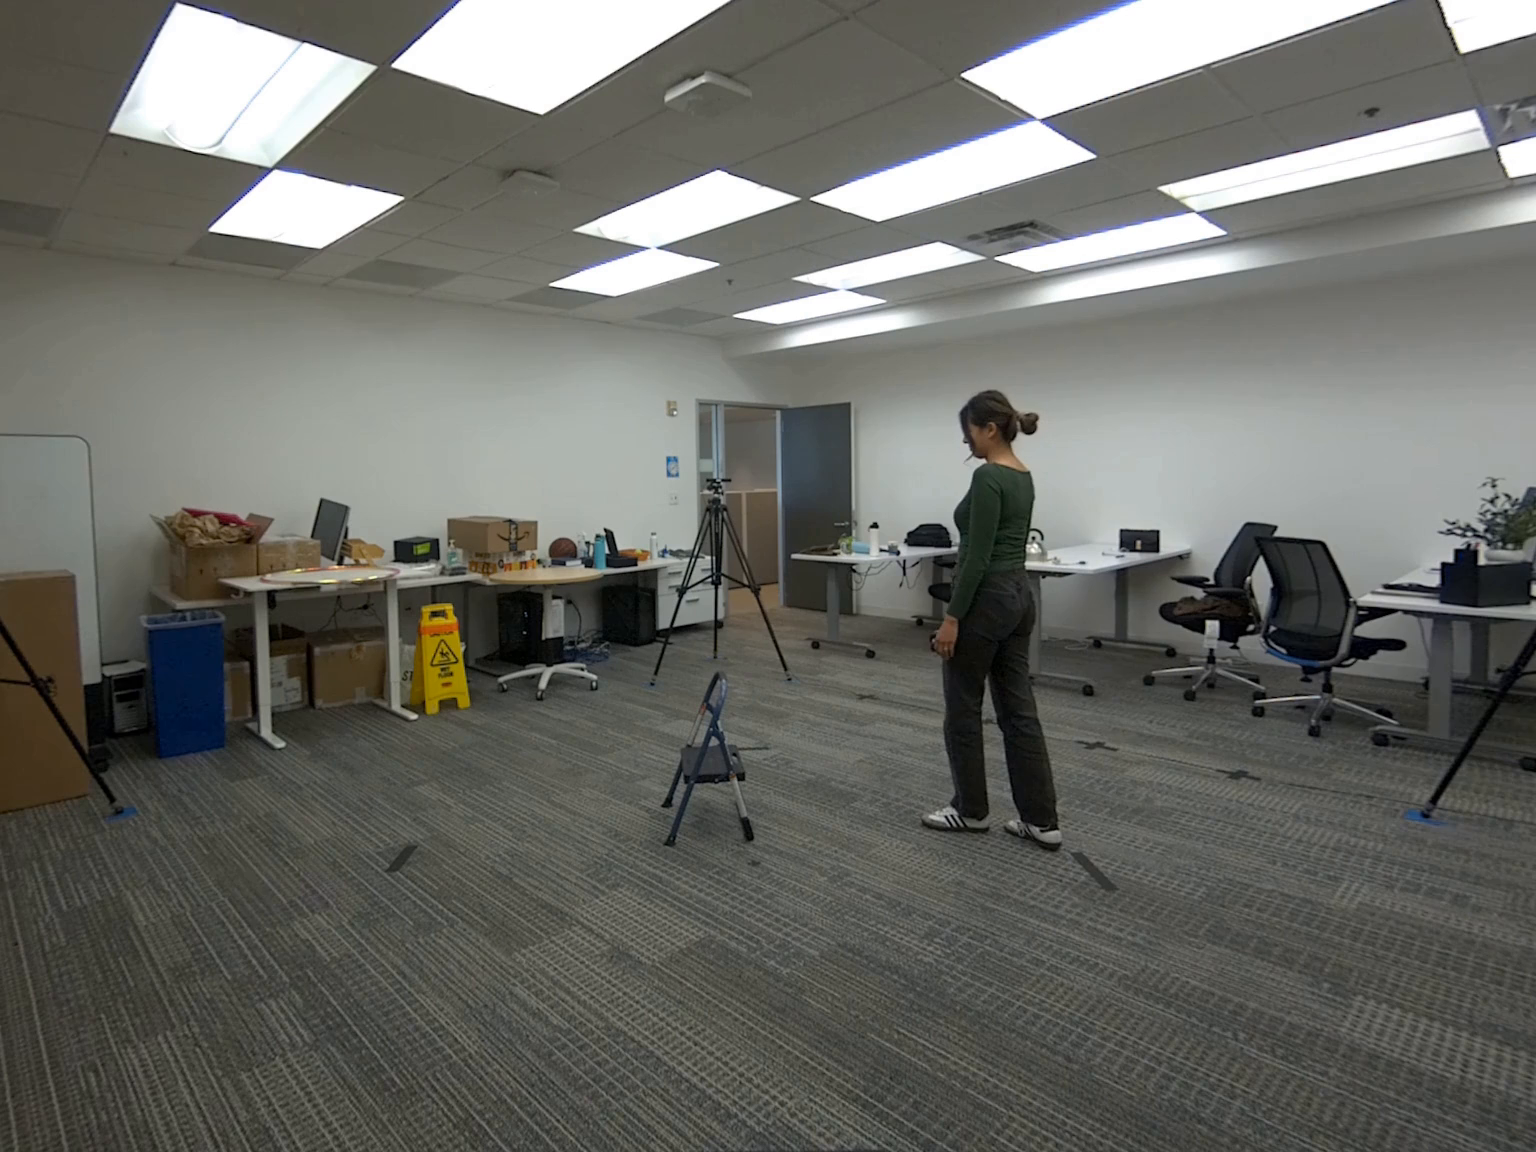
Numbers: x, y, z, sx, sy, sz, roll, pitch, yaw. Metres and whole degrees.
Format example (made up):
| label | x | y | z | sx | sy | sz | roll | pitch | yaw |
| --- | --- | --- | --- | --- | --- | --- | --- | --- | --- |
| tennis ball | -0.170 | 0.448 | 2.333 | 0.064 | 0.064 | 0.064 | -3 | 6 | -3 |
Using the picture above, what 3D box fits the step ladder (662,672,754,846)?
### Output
| label | x | y | z | sx | sy | sz | roll | pitch | yaw |
| --- | --- | --- | --- | --- | --- | --- | --- | --- | --- |
| step ladder | -0.252 | 0.709 | 3.465 | 0.347 | 0.604 | 0.435 | -1 | 4 | -8 |
